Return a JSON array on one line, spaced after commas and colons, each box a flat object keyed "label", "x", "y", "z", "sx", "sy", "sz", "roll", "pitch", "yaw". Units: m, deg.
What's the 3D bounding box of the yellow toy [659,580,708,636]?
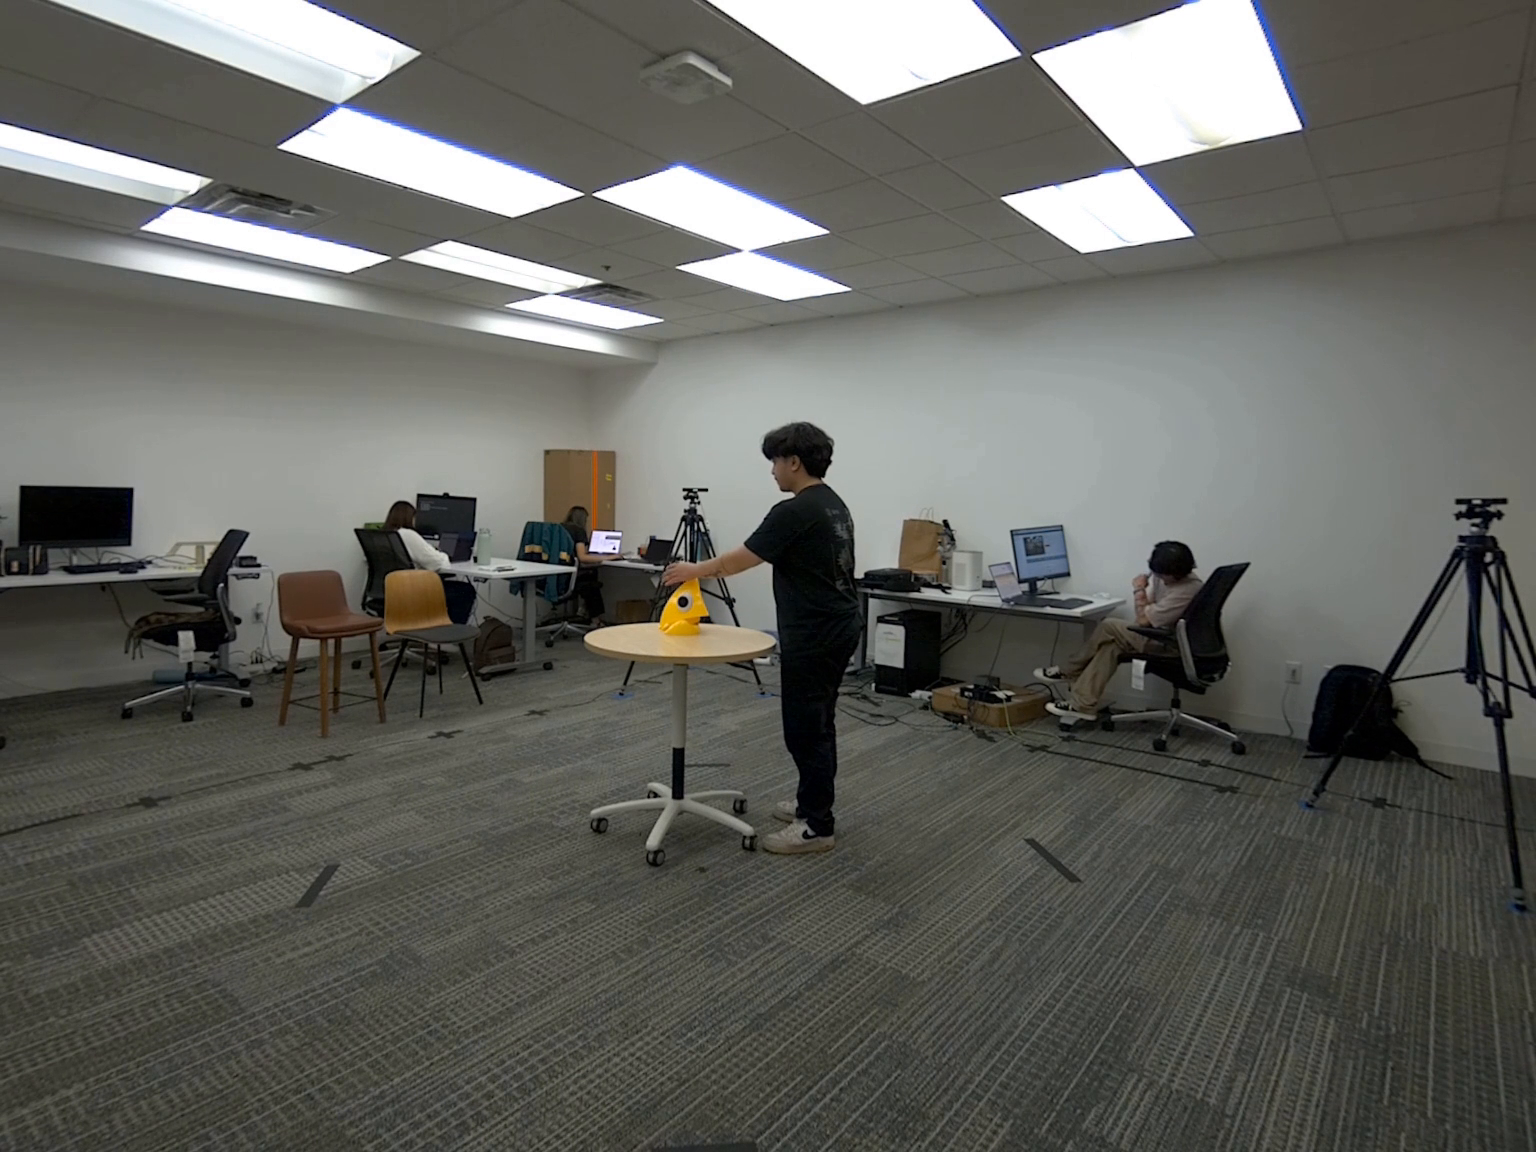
[{"label": "yellow toy", "x": -0.371, "y": 0.112, "z": 3.577, "sx": 0.190, "sy": 0.230, "sz": 0.209, "roll": 0, "pitch": 4, "yaw": -17}]
